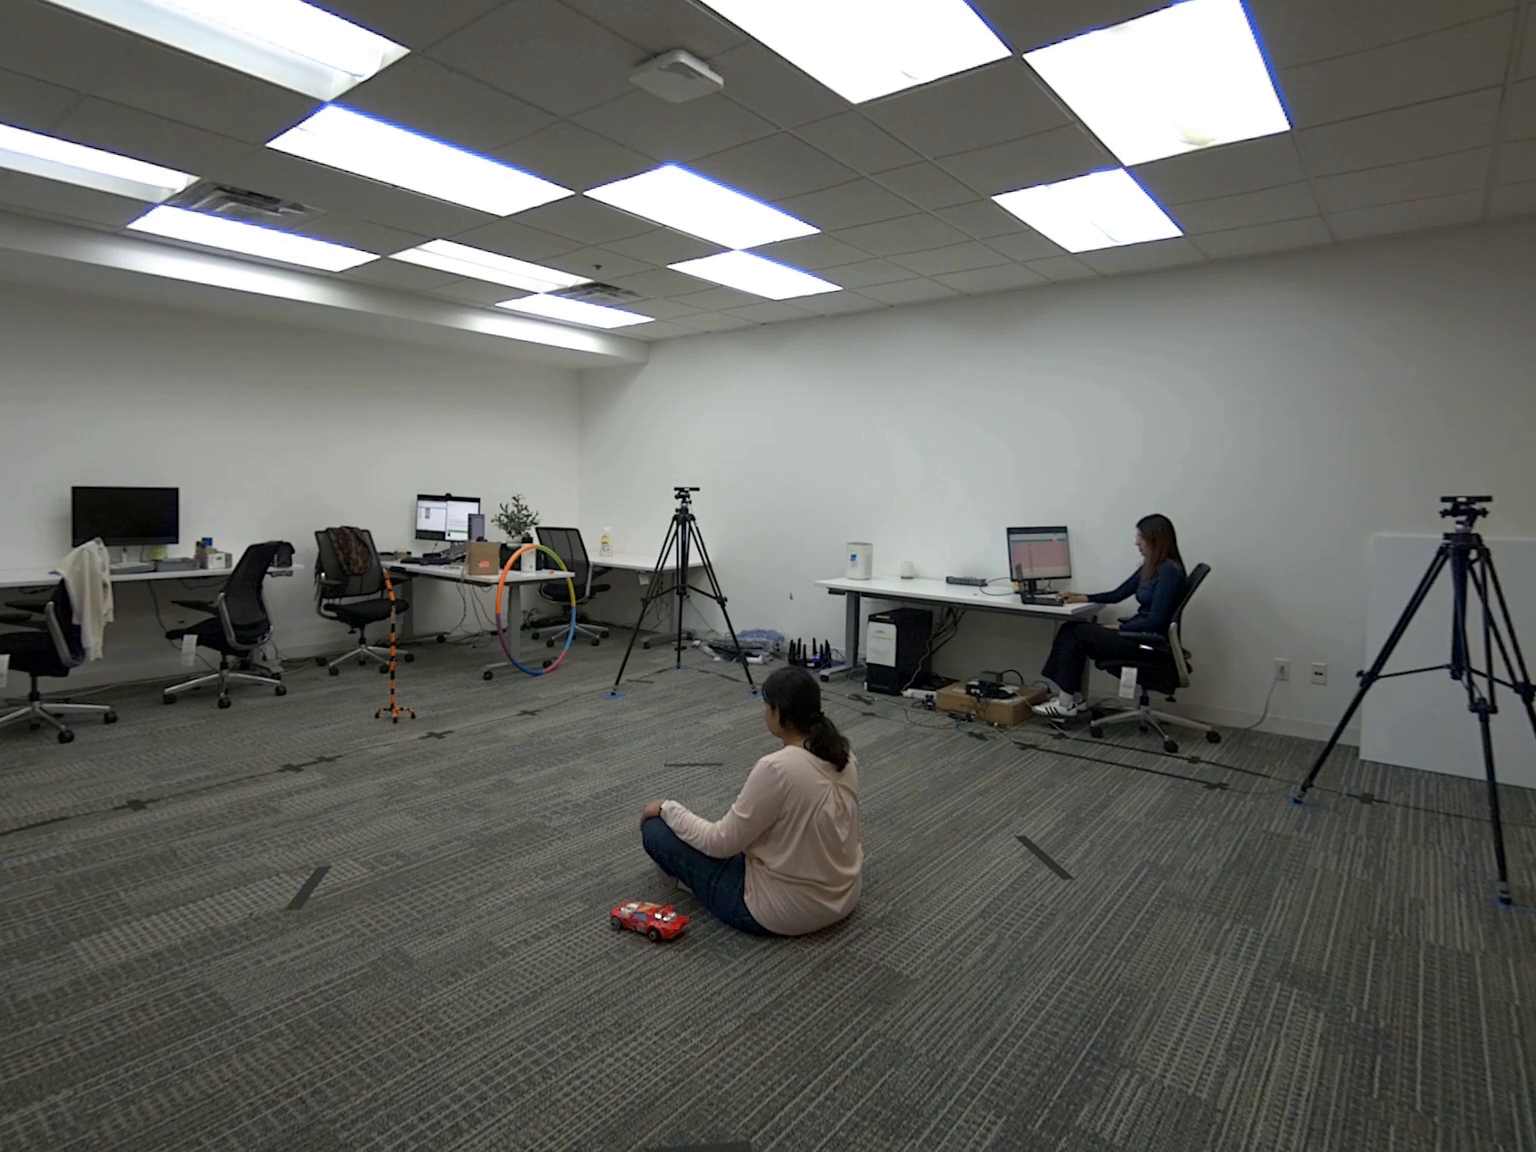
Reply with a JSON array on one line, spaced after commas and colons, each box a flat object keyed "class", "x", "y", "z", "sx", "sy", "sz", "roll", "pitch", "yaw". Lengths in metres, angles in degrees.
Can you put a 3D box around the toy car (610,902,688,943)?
[{"class": "toy car", "x": -0.379, "y": 1.083, "z": 2.656, "sx": 0.261, "sy": 0.083, "sz": 0.127, "roll": -6, "pitch": 0, "yaw": 30}]
